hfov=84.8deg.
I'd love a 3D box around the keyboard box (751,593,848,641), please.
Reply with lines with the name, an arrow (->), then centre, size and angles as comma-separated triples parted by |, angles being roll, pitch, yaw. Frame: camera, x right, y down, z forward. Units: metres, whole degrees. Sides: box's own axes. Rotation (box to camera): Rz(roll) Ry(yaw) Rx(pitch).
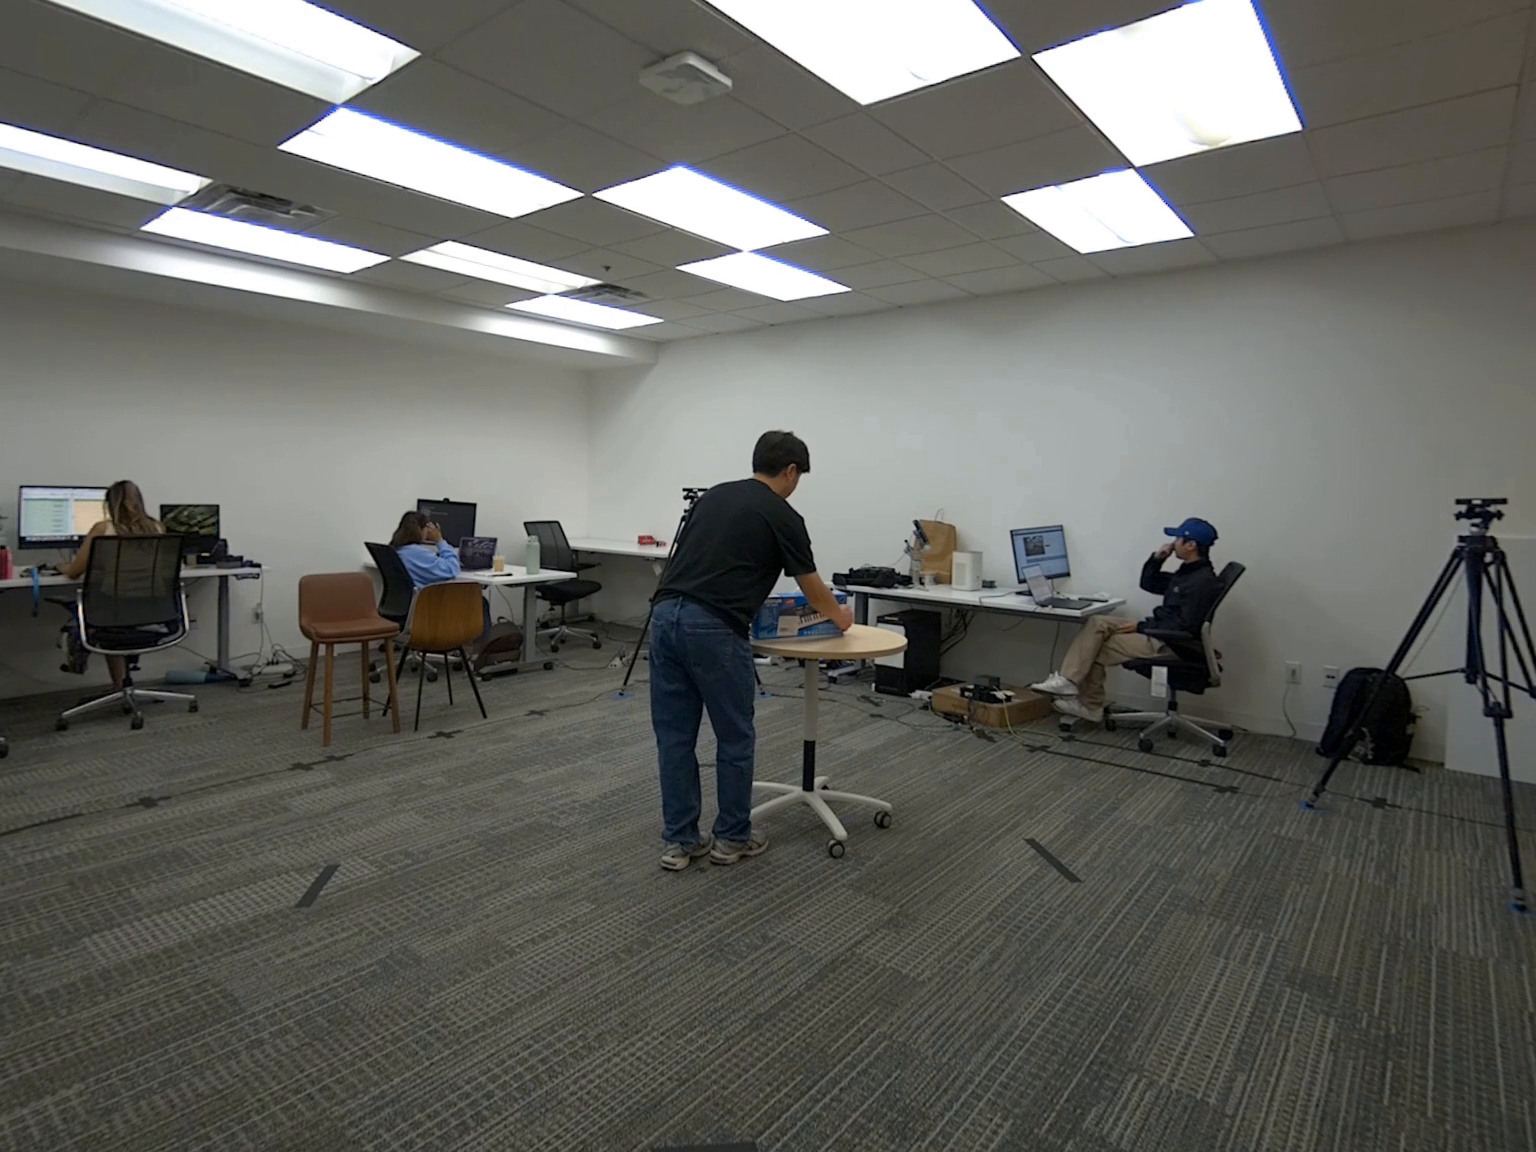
keyboard box -> 0.127, 0.160, 3.481 | 0.425, 0.175, 0.061 | -2, 9, -29
